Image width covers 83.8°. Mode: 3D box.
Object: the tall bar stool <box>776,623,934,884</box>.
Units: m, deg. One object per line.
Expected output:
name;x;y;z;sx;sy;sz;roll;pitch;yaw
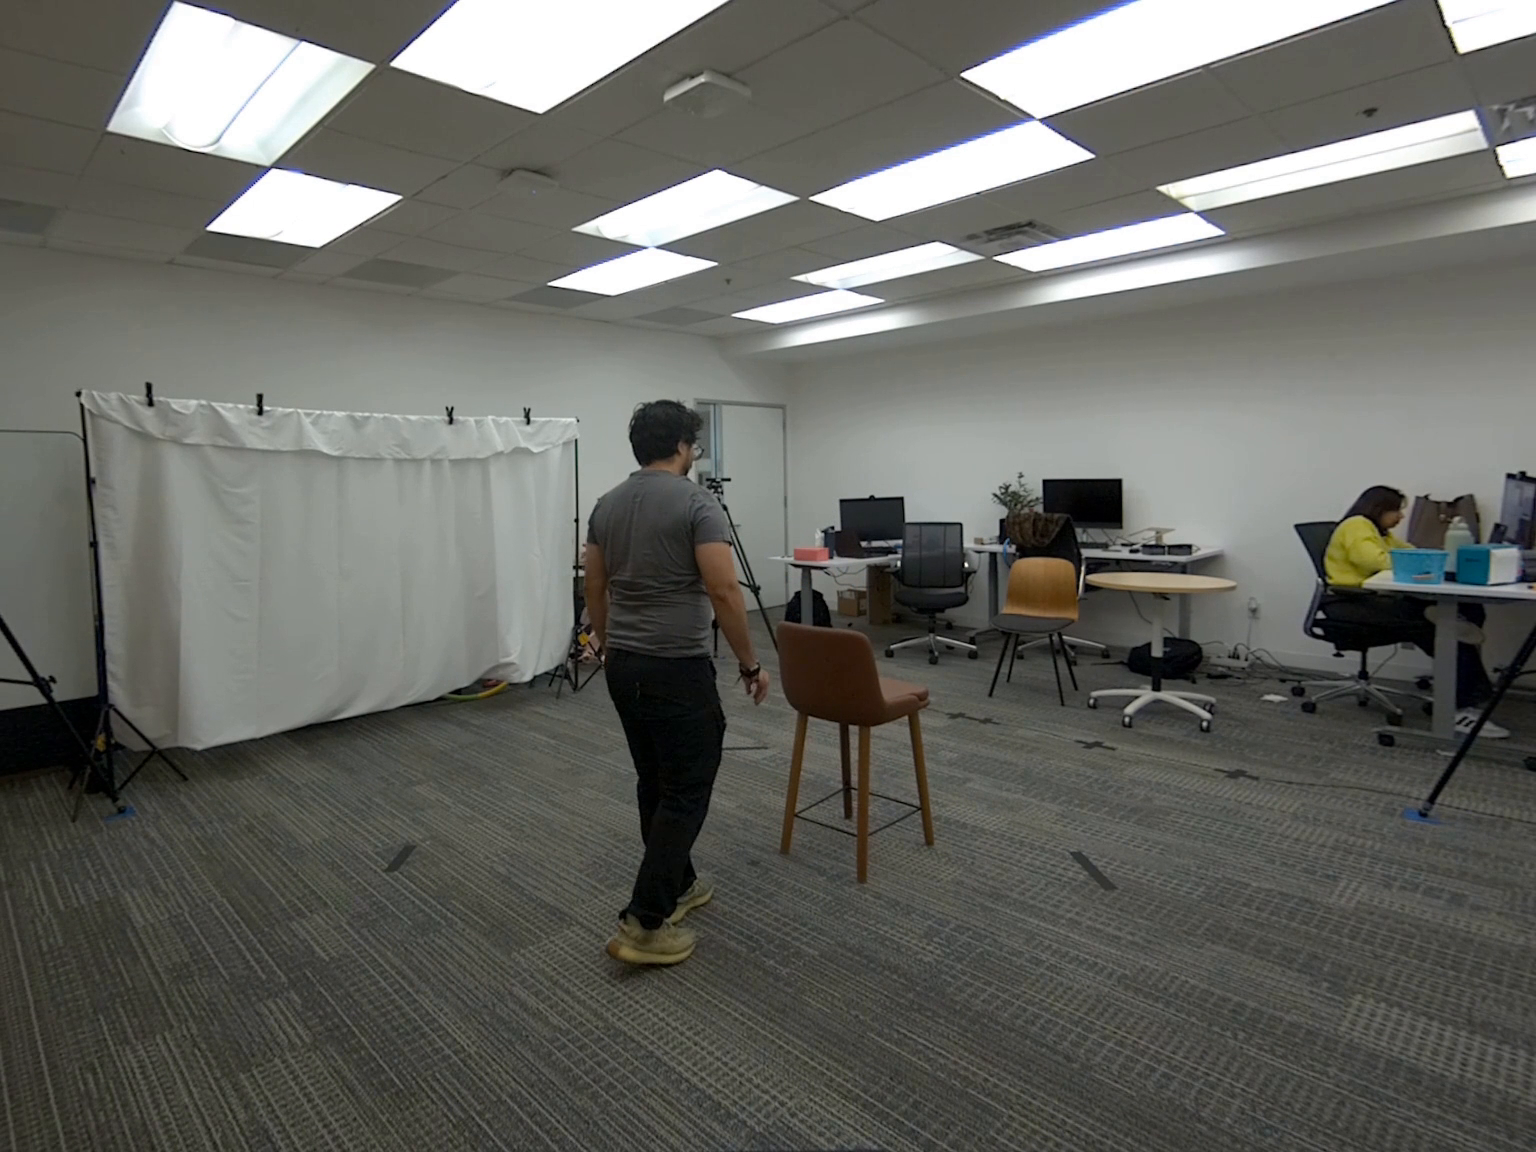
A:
tall bar stool;0.322;0.591;3.190;0.470;0.885;0.456;3;7;43
